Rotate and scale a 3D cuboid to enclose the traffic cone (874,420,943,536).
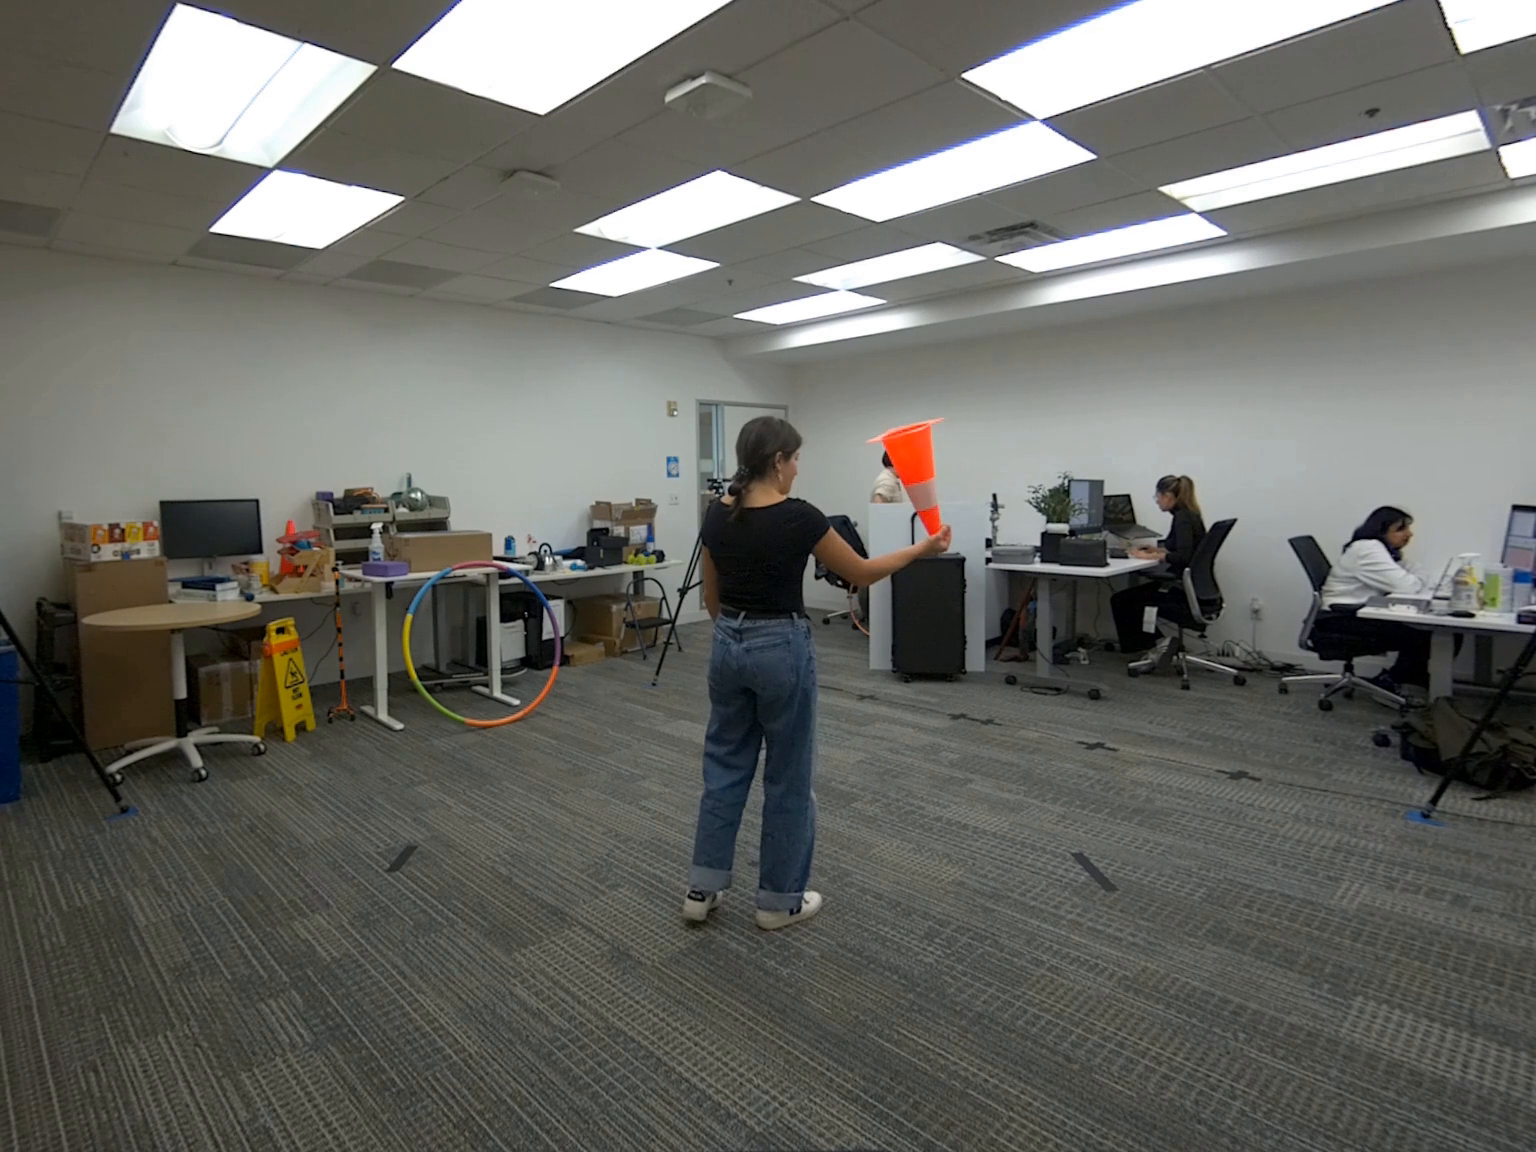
[{"bbox_3d":[0.477,-0.260,2.726,0.200,0.380,0.210,-20,10,-38],"label":"traffic cone"}]
